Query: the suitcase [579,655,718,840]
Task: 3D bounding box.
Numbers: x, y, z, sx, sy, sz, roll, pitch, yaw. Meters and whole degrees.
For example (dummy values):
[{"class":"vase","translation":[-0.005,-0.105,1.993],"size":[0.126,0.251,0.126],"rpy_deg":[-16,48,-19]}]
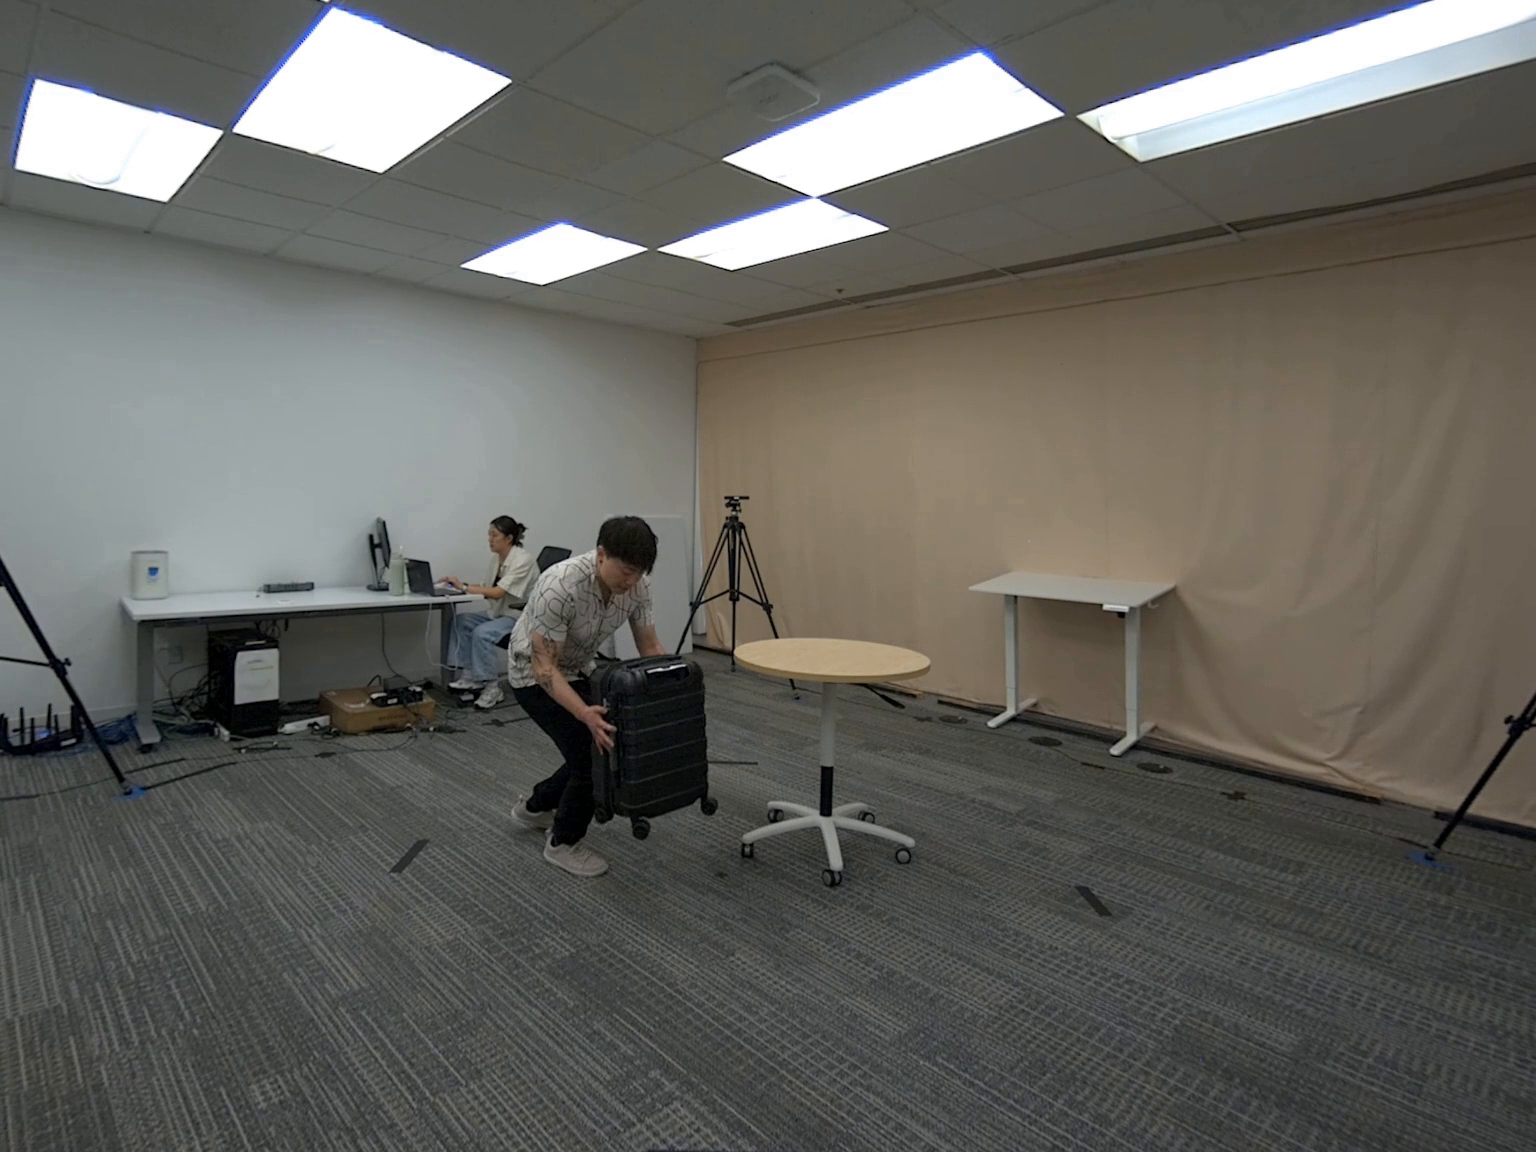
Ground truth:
[{"class":"suitcase","translation":[-0.408,0.556,2.859],"size":[0.367,0.548,0.254],"rpy_deg":[-6,4,-43]}]
